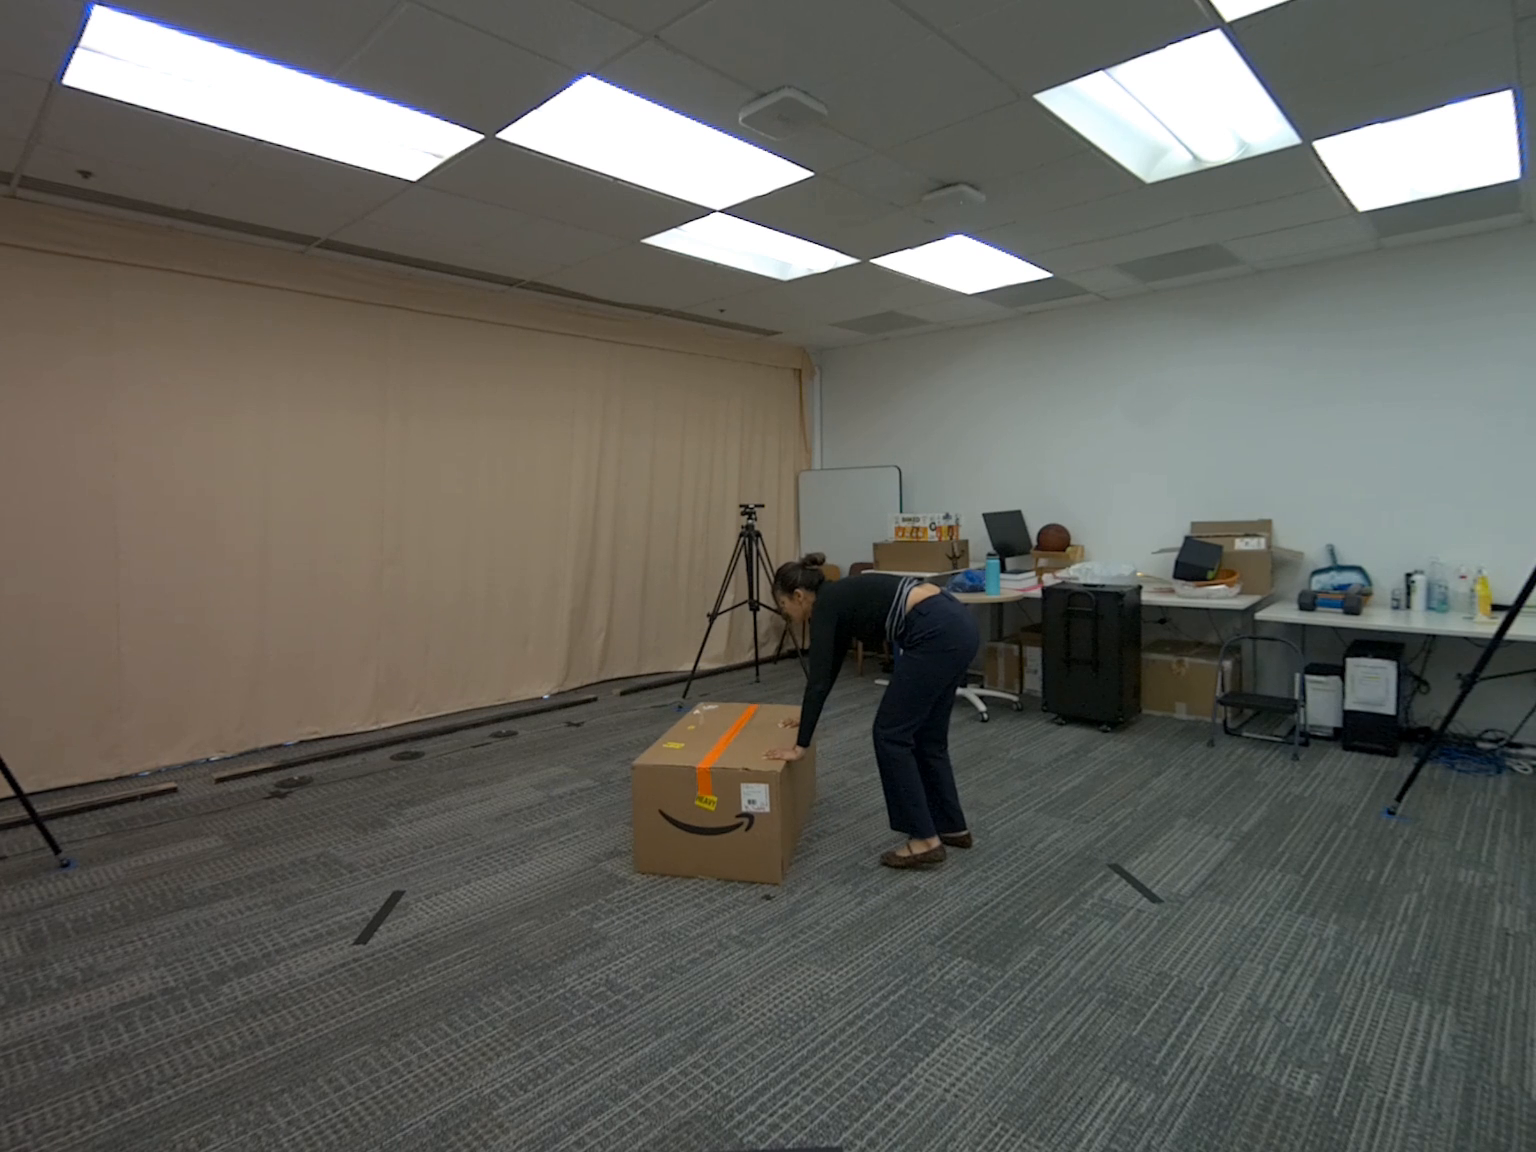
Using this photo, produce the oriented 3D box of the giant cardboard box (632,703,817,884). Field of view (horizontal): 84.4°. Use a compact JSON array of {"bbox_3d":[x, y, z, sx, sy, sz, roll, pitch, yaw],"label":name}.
[{"bbox_3d":[-0.143,0.874,3.621,0.585,0.425,1.015,1,5,11],"label":"giant cardboard box"}]
